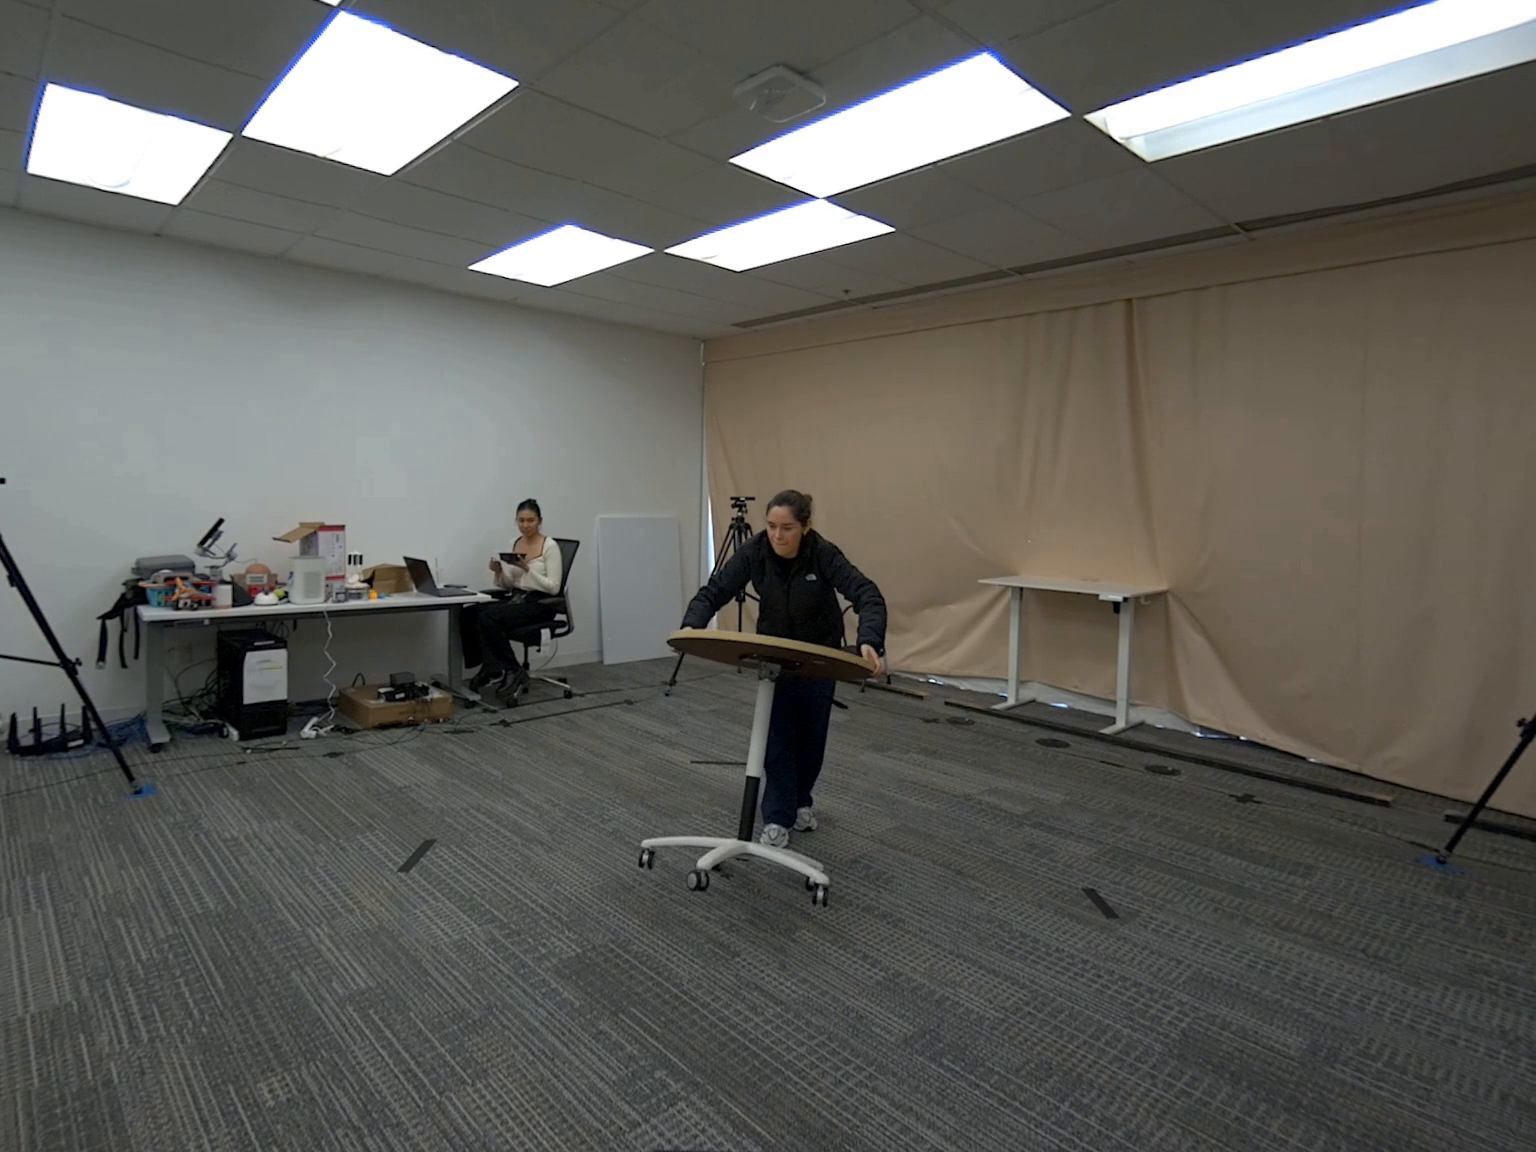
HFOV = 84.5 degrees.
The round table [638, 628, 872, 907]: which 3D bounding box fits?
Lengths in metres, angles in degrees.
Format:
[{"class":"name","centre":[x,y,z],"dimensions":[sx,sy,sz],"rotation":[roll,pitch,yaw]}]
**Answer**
[{"class":"round table","centre":[-0.047,0.671,2.957],"dimensions":[0.786,0.792,0.778],"rotation":[9,-12,0]}]
